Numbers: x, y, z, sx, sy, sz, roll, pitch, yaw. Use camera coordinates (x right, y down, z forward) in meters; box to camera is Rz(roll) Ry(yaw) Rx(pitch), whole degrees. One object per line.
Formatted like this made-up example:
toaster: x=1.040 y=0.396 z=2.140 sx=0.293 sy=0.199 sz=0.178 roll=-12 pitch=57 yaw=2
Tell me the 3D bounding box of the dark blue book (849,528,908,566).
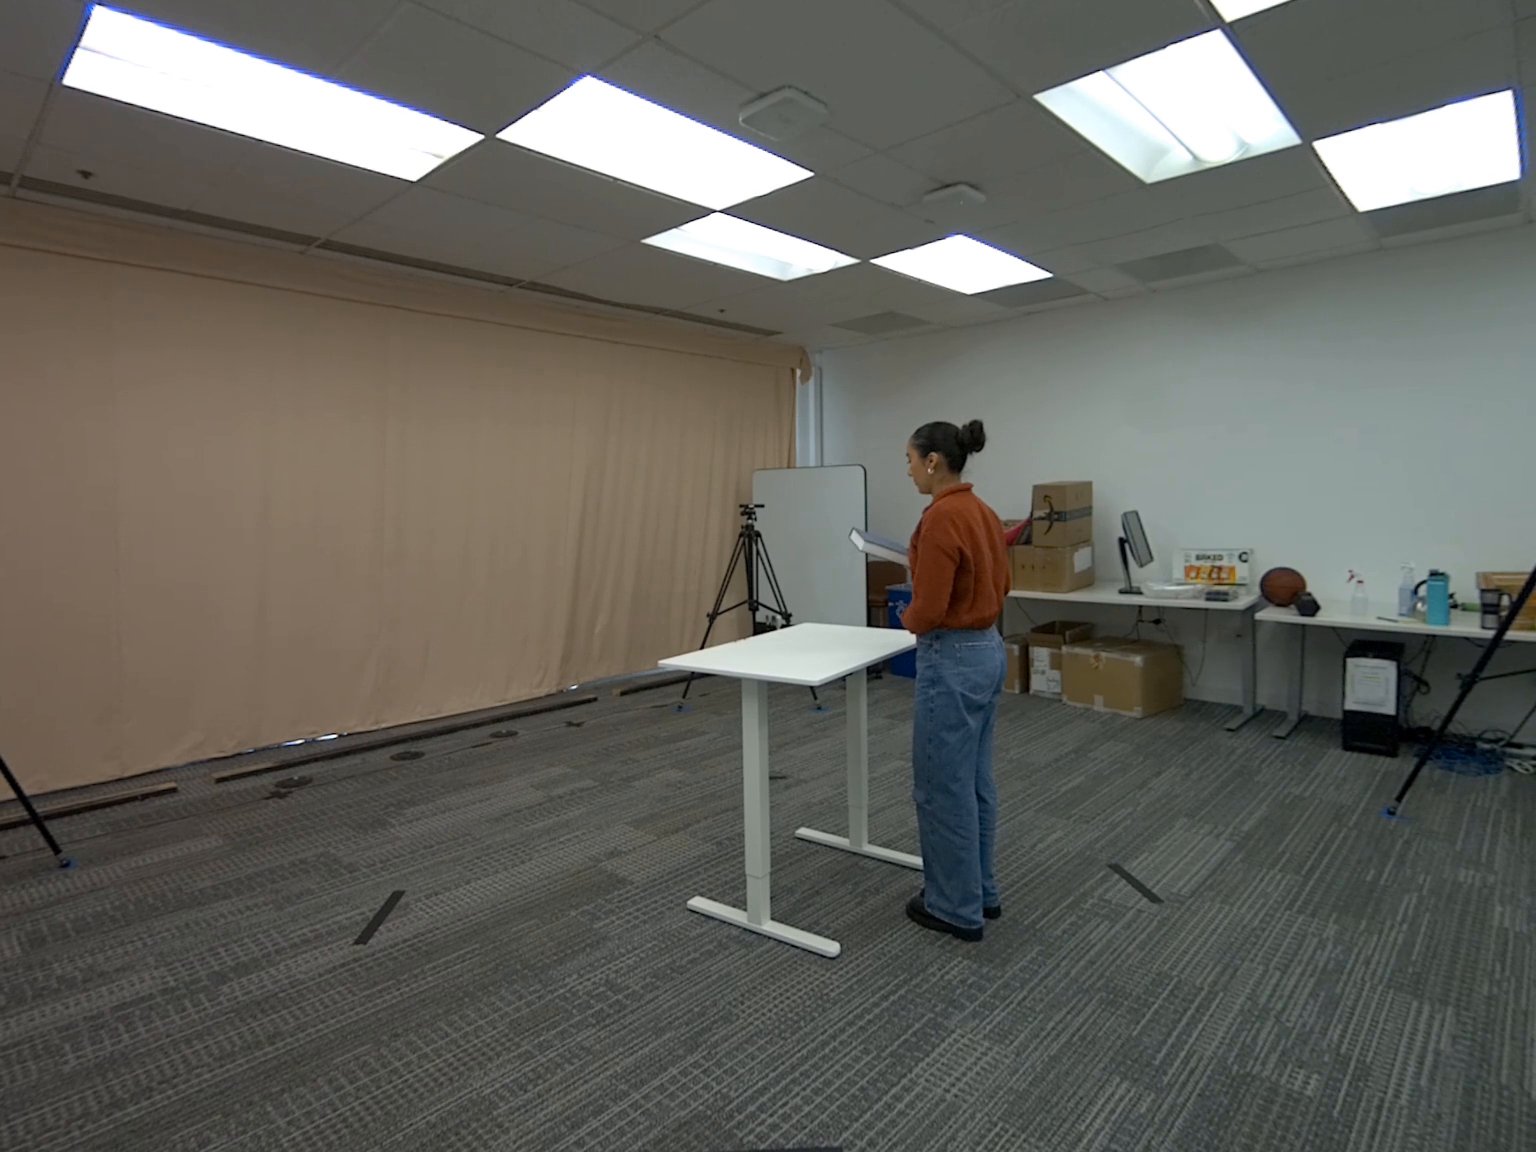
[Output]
dark blue book: x=0.444 y=-0.089 z=3.021 sx=0.242 sy=0.045 sz=0.166 roll=19 pitch=14 yaw=-11
